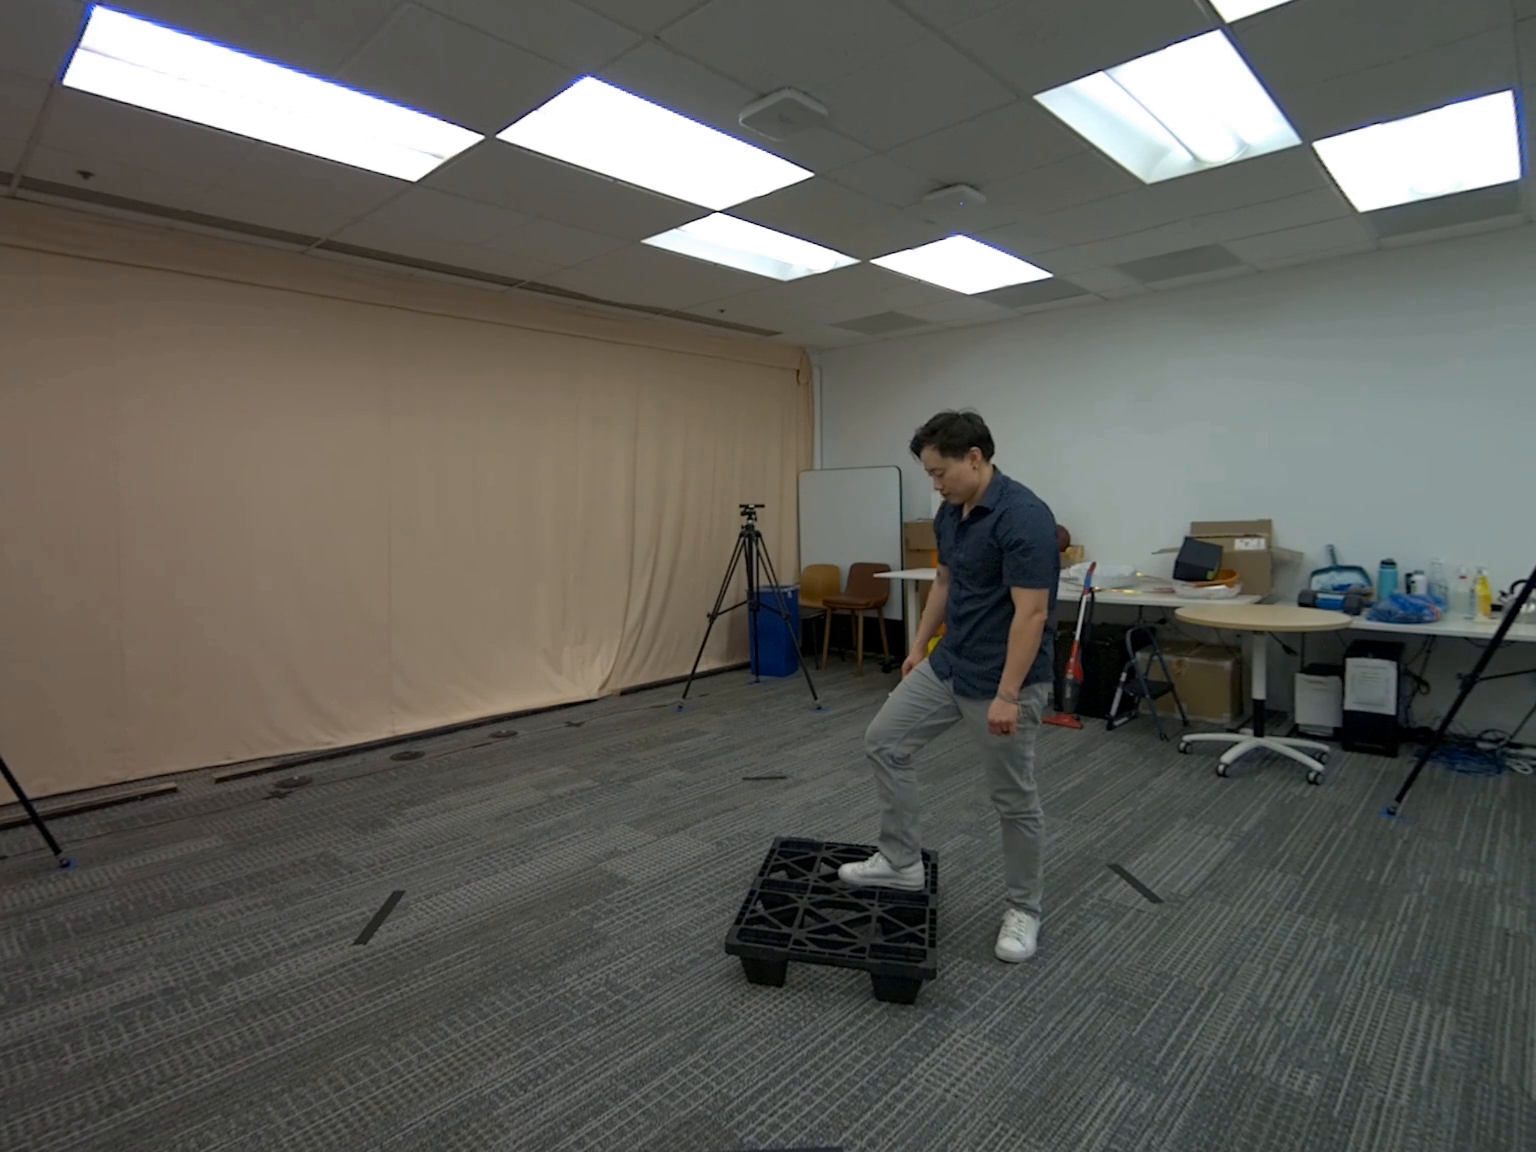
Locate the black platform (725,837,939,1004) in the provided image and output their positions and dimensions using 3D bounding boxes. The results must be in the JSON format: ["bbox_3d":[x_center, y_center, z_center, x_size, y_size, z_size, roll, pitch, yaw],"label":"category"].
[{"bbox_3d":[0.251,1.089,2.740,0.614,0.143,0.796,1,5,13],"label":"black platform"}]
